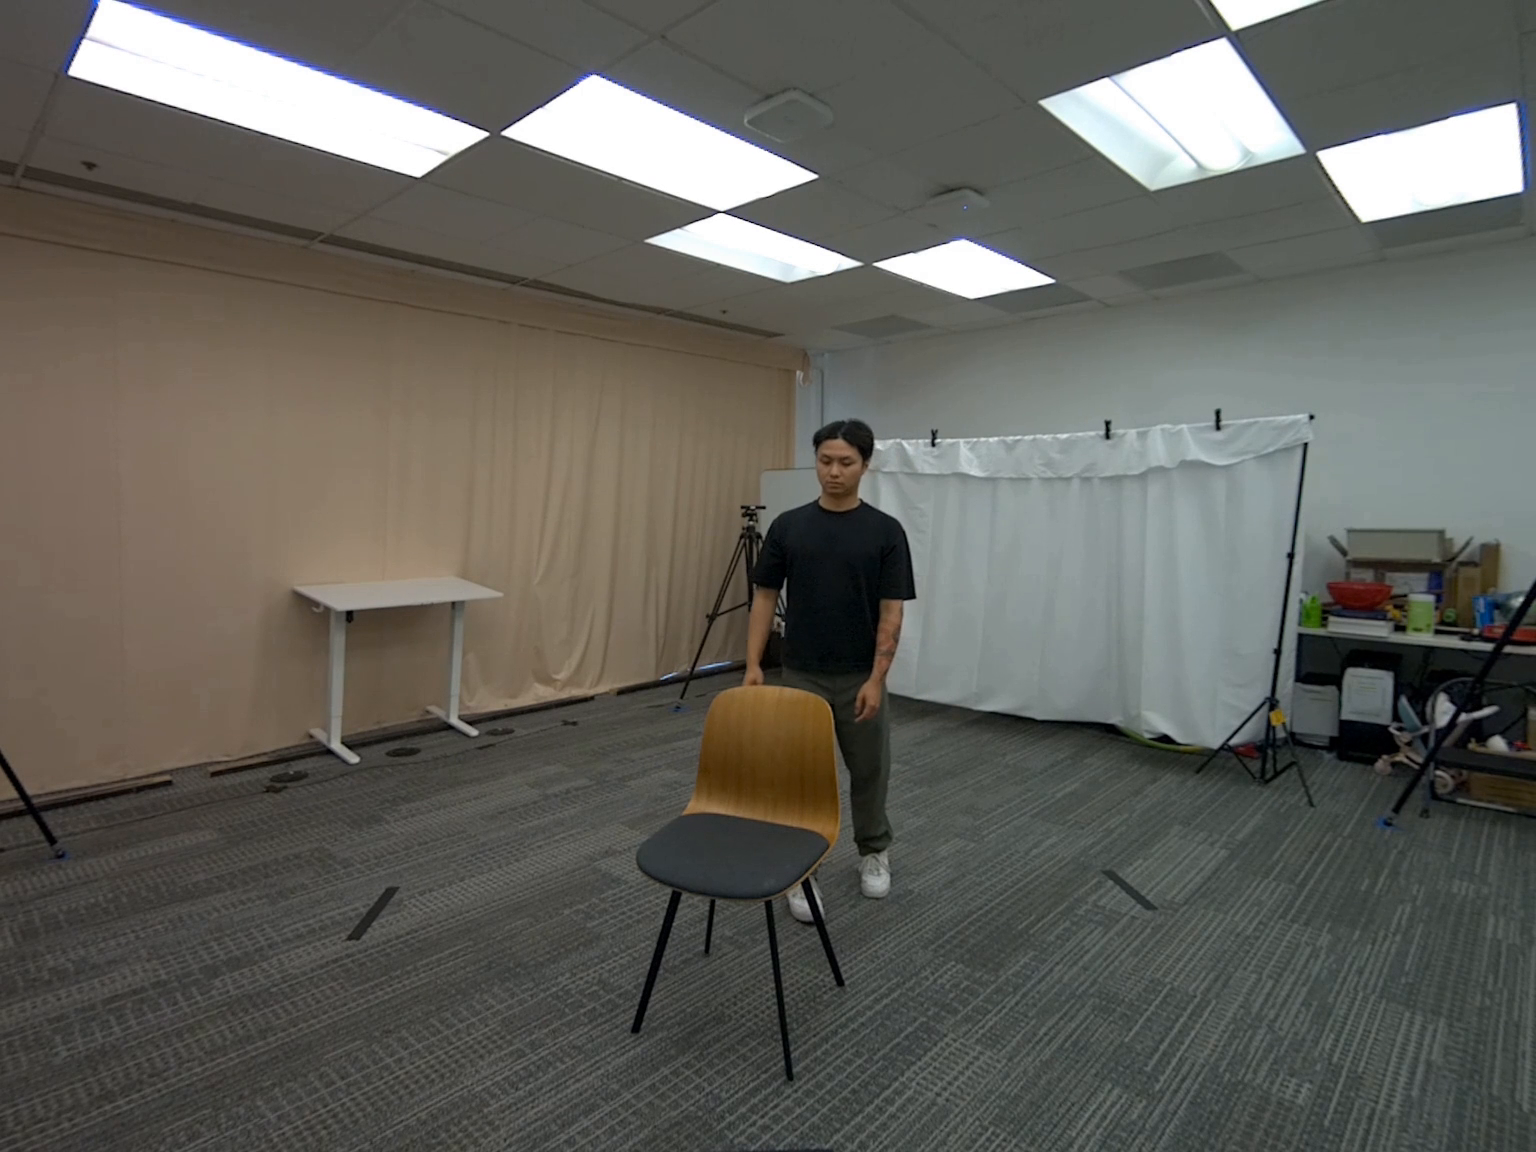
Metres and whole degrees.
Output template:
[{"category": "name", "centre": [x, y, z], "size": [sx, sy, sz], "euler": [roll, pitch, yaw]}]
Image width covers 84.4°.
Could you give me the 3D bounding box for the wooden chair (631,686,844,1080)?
[{"category": "wooden chair", "centre": [-0.066, 0.771, 2.301], "size": [0.490, 0.878, 0.510], "euler": [1, -1, 24]}]
